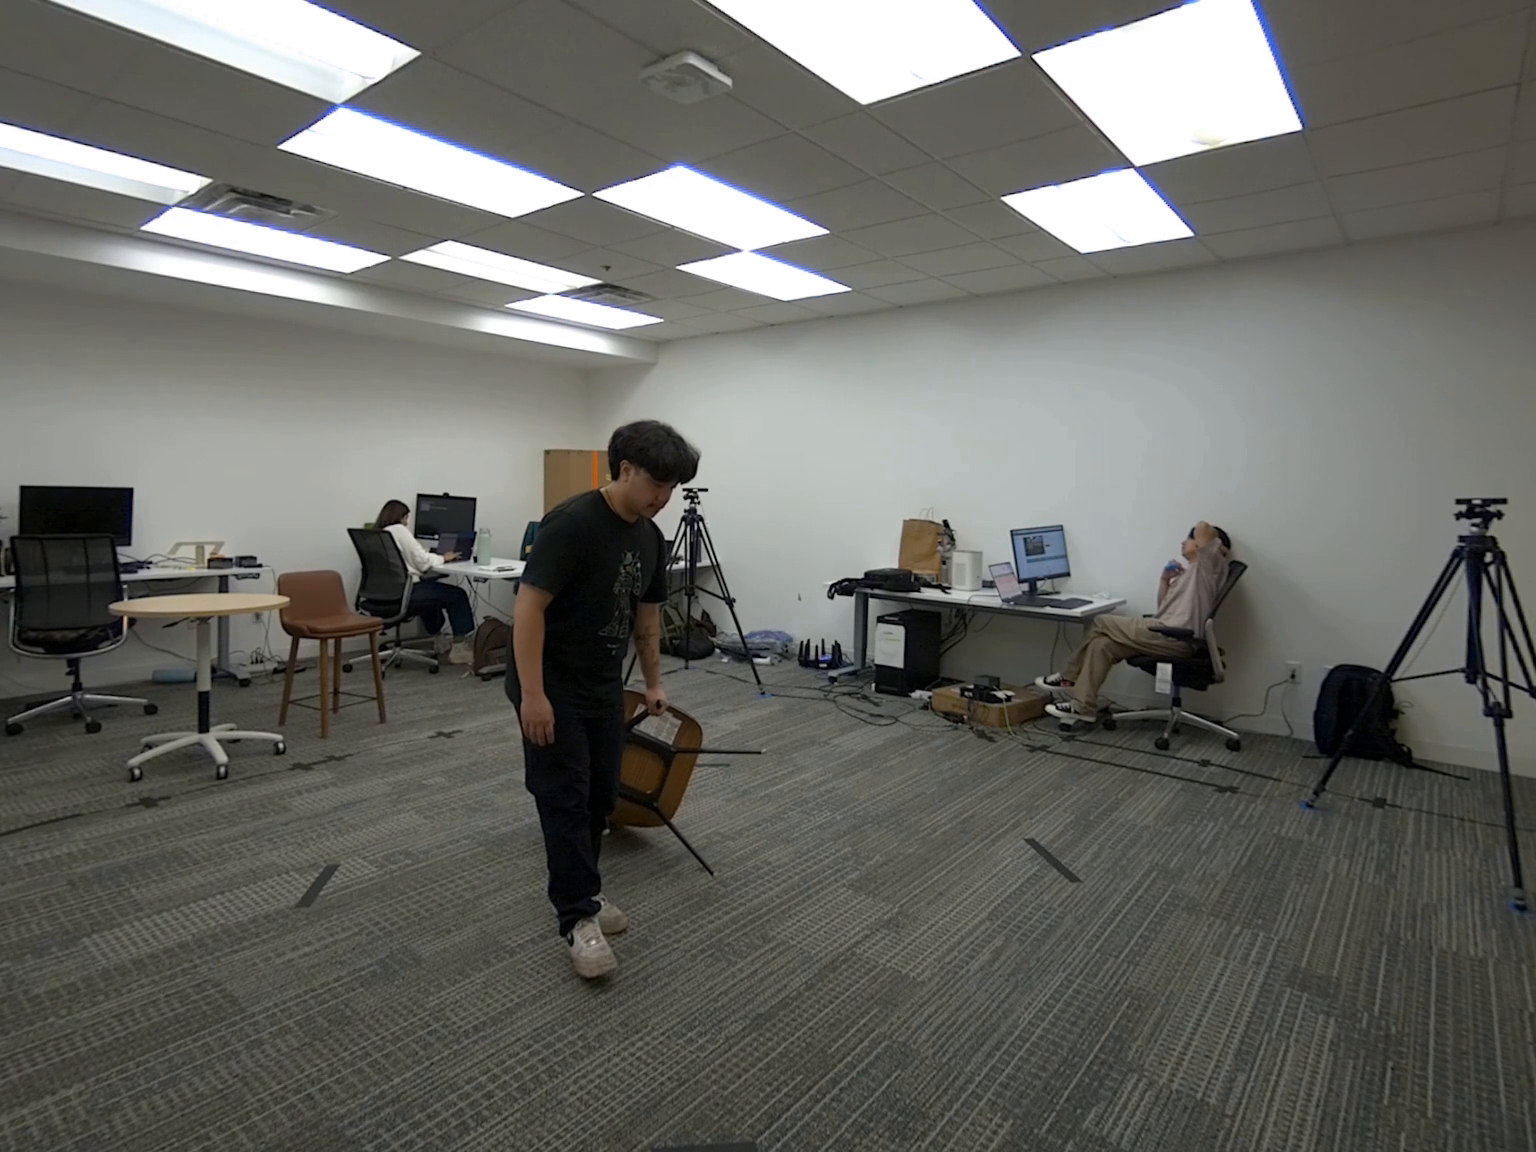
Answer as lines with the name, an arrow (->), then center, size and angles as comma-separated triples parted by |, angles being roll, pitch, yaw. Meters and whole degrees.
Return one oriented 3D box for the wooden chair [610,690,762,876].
wooden chair -> -0.496, 0.719, 3.190 | 0.464, 0.528, 0.895 | 29, -20, -25
